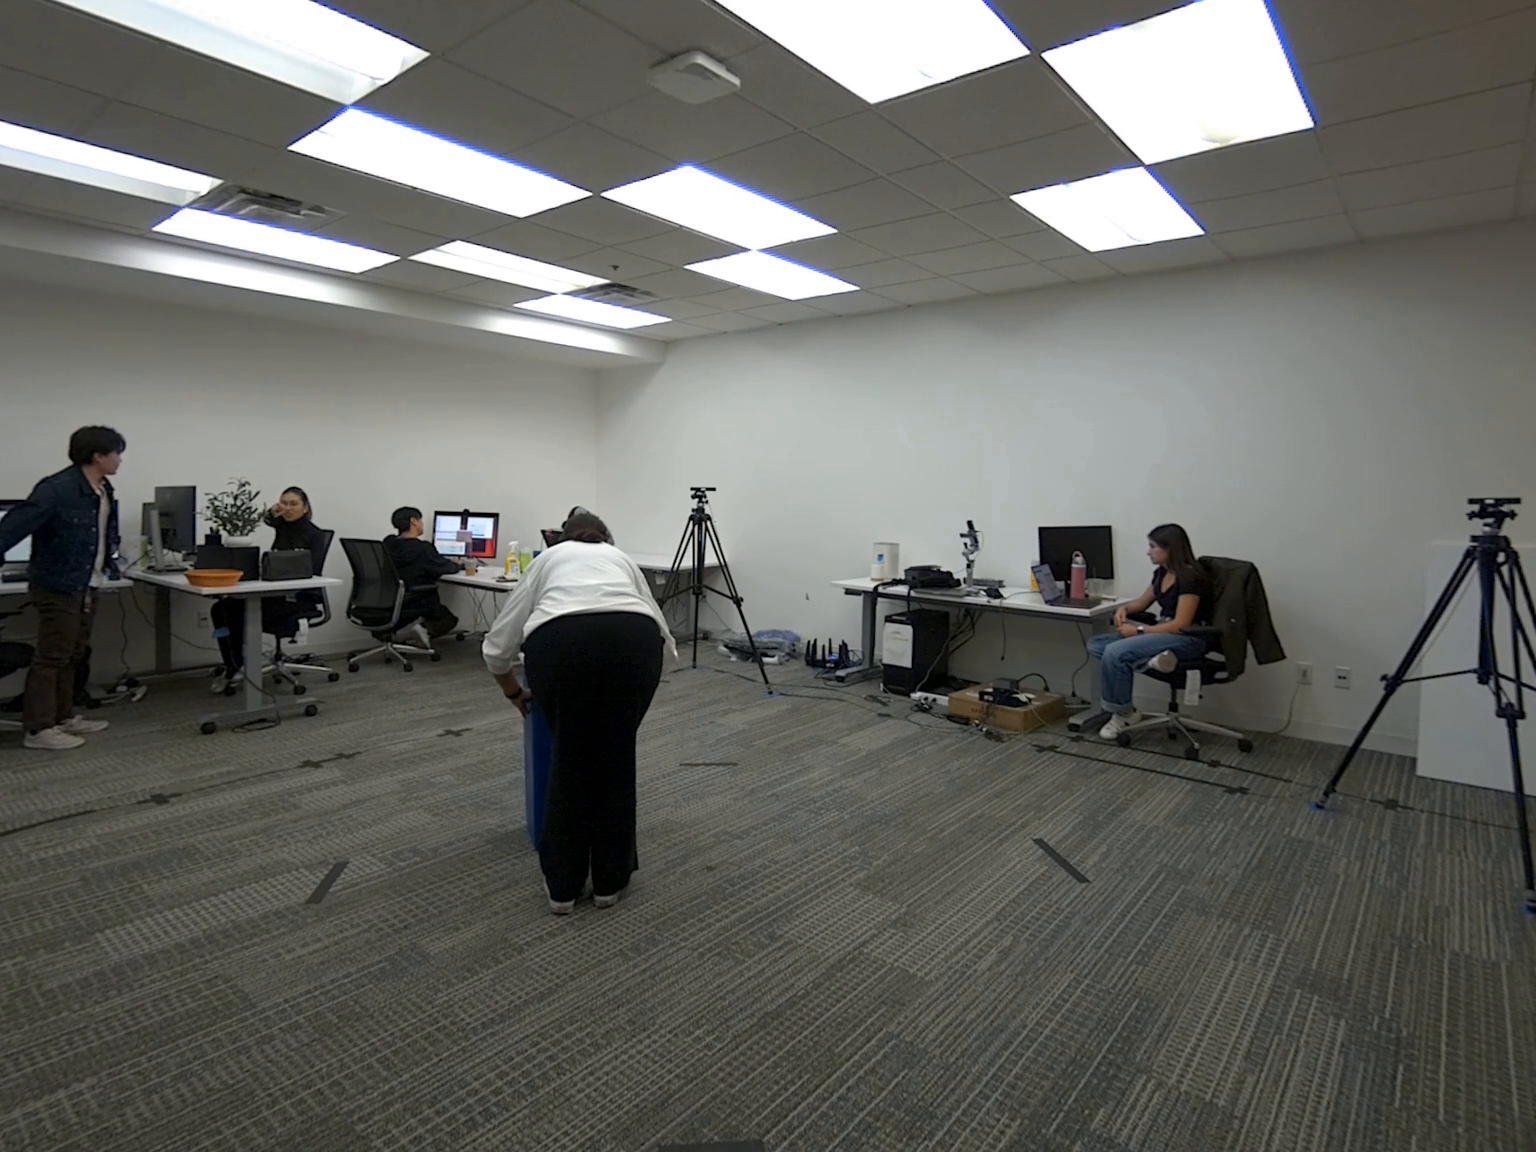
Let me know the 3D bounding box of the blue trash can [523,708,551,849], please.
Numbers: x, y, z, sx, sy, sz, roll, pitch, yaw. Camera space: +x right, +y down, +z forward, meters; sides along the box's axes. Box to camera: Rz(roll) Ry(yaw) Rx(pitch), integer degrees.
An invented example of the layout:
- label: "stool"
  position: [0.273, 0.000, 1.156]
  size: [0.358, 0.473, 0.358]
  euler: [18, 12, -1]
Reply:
- label: "blue trash can"
  position: [-0.809, 0.662, 3.406]
  size: [0.370, 0.713, 0.382]
  euler: [0, 1, -21]
